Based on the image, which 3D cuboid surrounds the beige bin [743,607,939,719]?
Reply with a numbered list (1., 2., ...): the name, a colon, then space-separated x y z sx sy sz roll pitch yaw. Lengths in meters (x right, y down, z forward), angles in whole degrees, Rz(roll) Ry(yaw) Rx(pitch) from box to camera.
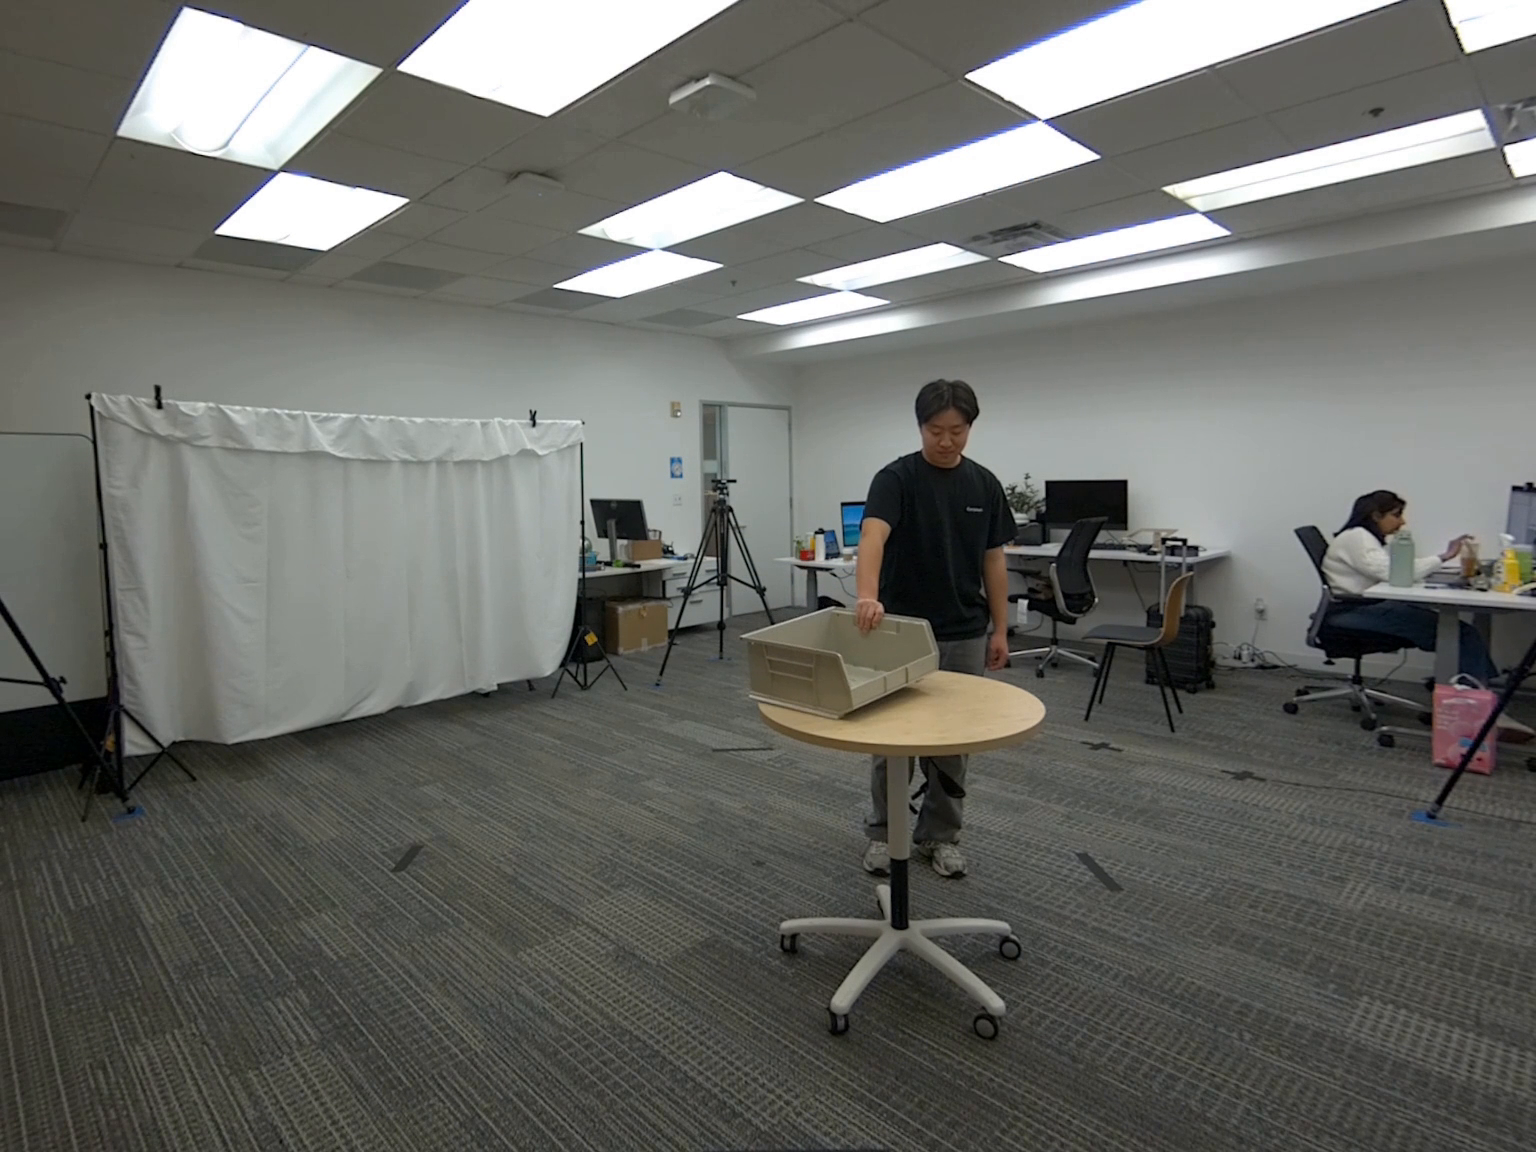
1. beige bin: 0.209 0.235 2.409 0.412 0.187 0.389 -12 12 -43
